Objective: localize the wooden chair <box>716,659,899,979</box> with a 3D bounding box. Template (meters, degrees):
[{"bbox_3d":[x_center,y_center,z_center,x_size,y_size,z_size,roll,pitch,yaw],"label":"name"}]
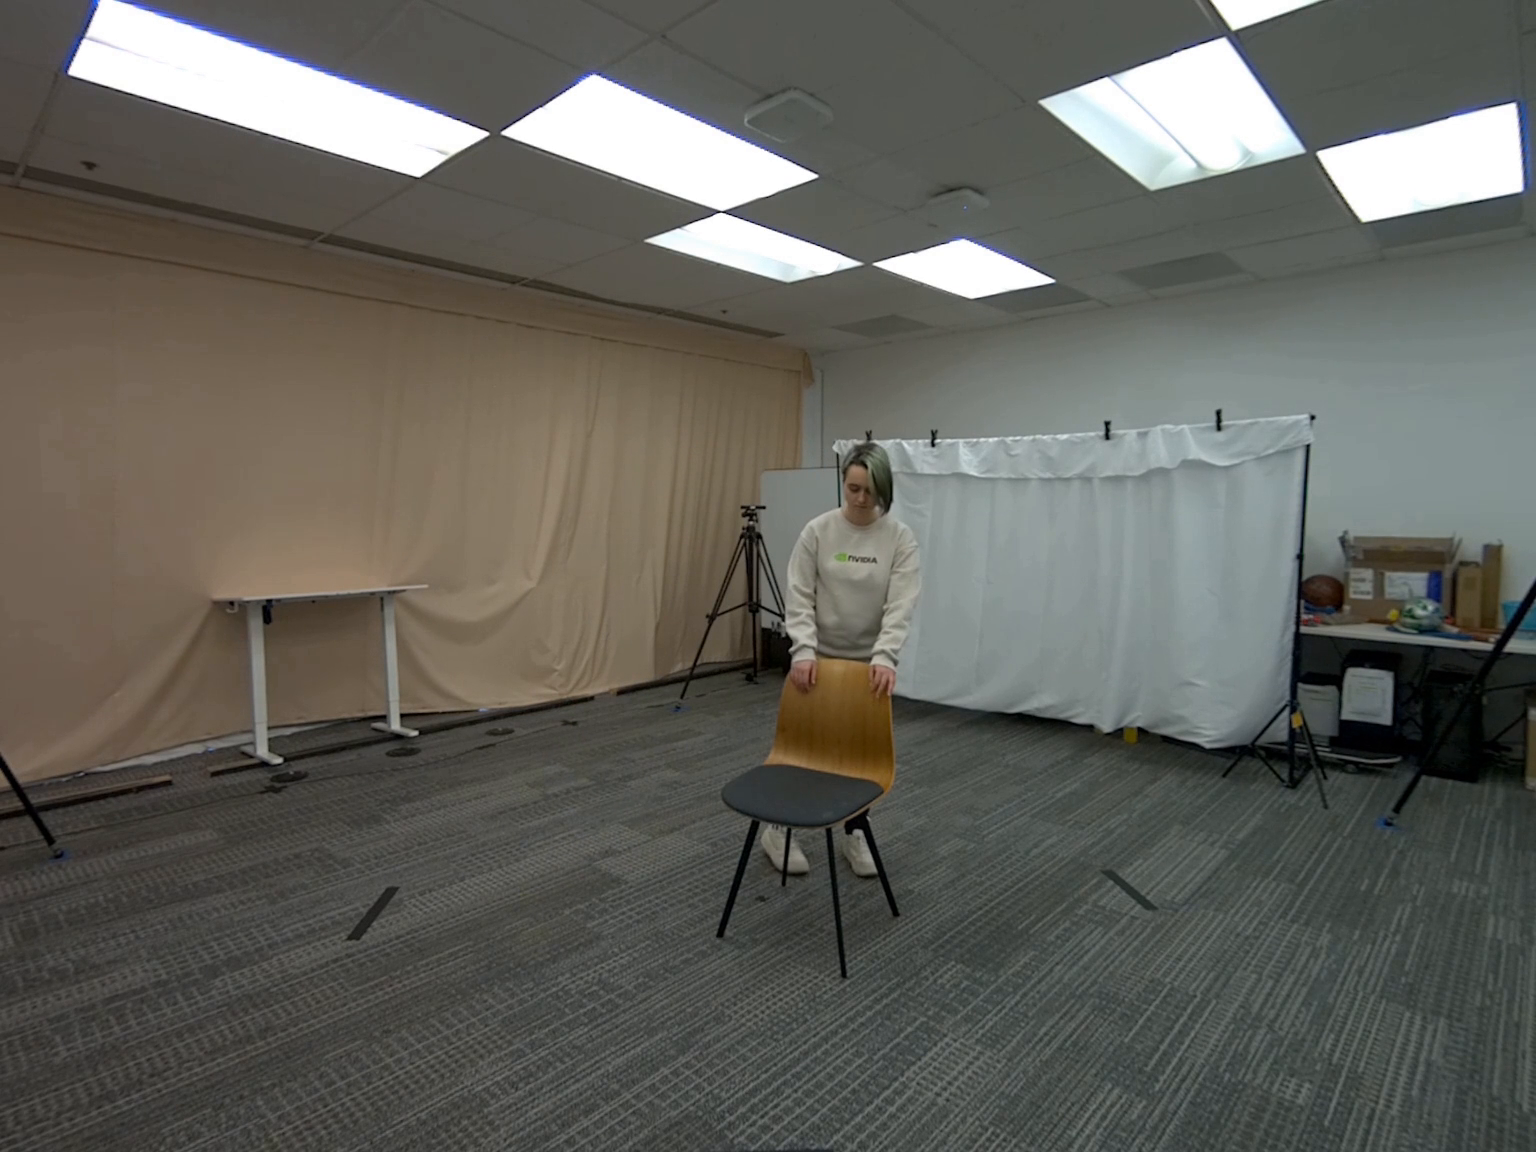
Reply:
[{"bbox_3d":[0.141,0.728,2.750,0.492,0.878,0.507,2,-1,32],"label":"wooden chair"}]
